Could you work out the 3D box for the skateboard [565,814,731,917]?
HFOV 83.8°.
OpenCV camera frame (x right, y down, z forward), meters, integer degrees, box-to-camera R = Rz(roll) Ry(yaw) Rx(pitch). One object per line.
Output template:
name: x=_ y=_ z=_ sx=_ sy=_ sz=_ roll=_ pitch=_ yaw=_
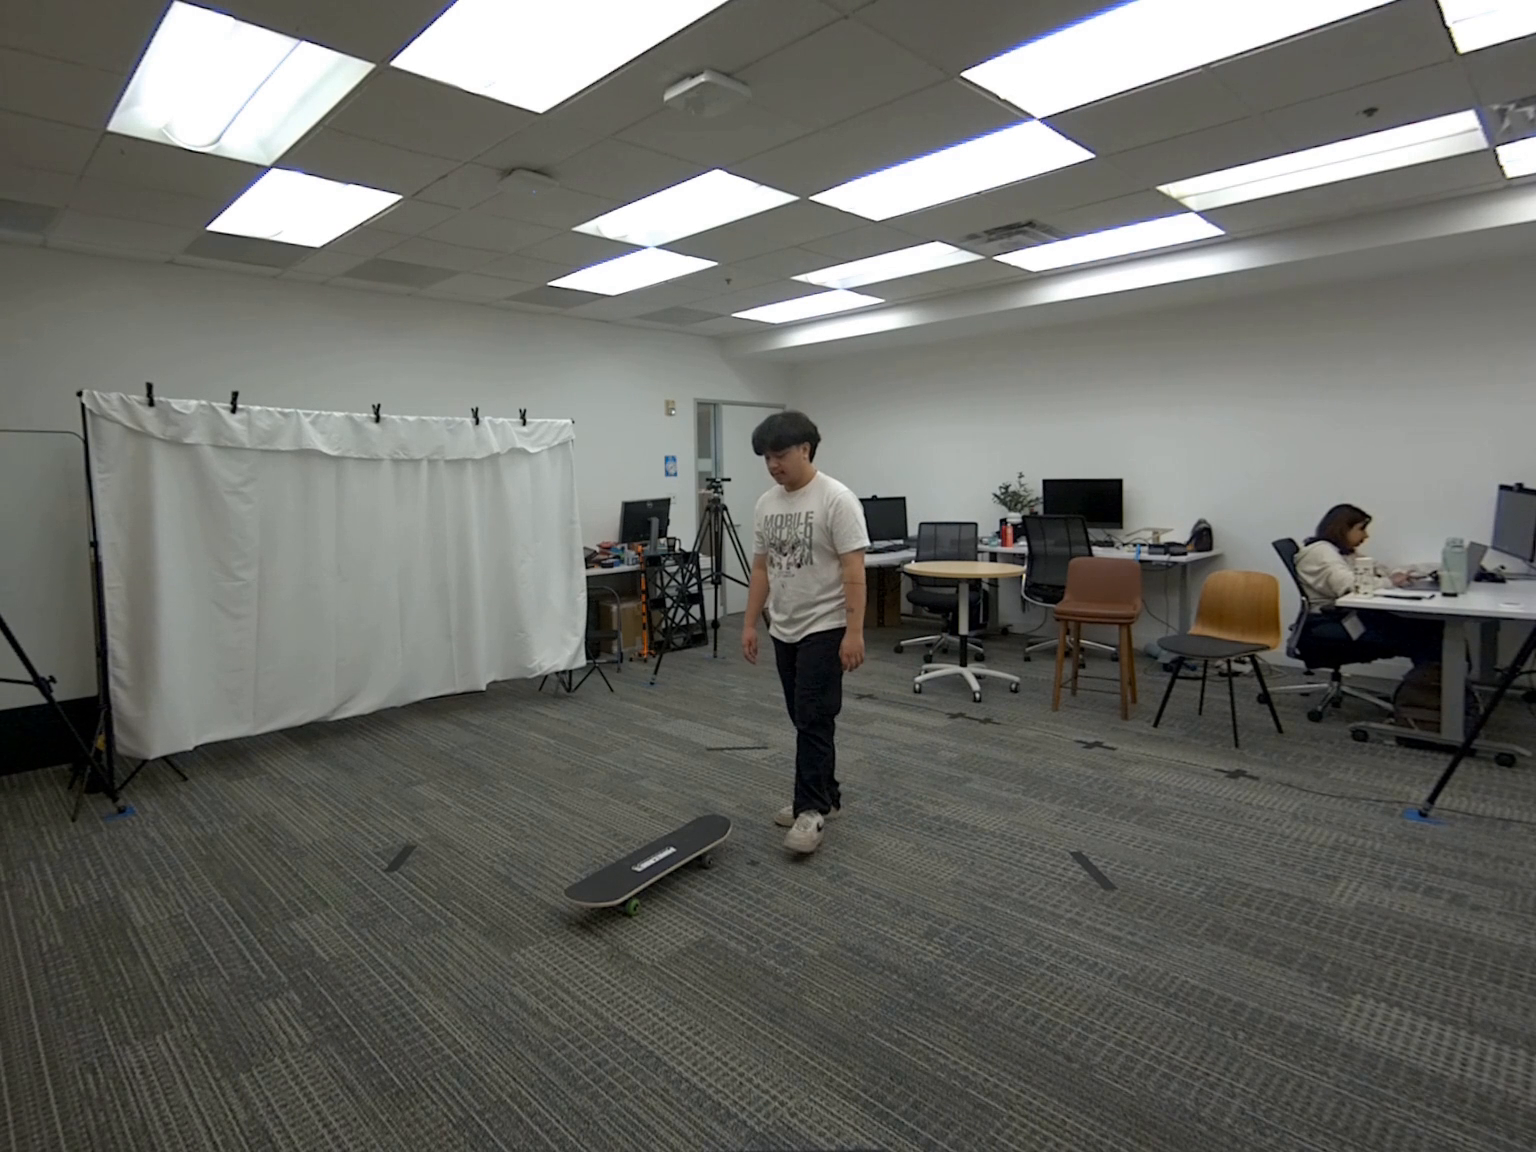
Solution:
skateboard: x=-0.390 y=1.007 z=2.957 sx=0.199 sy=0.110 sz=0.767 roll=3 pitch=8 yaw=33
